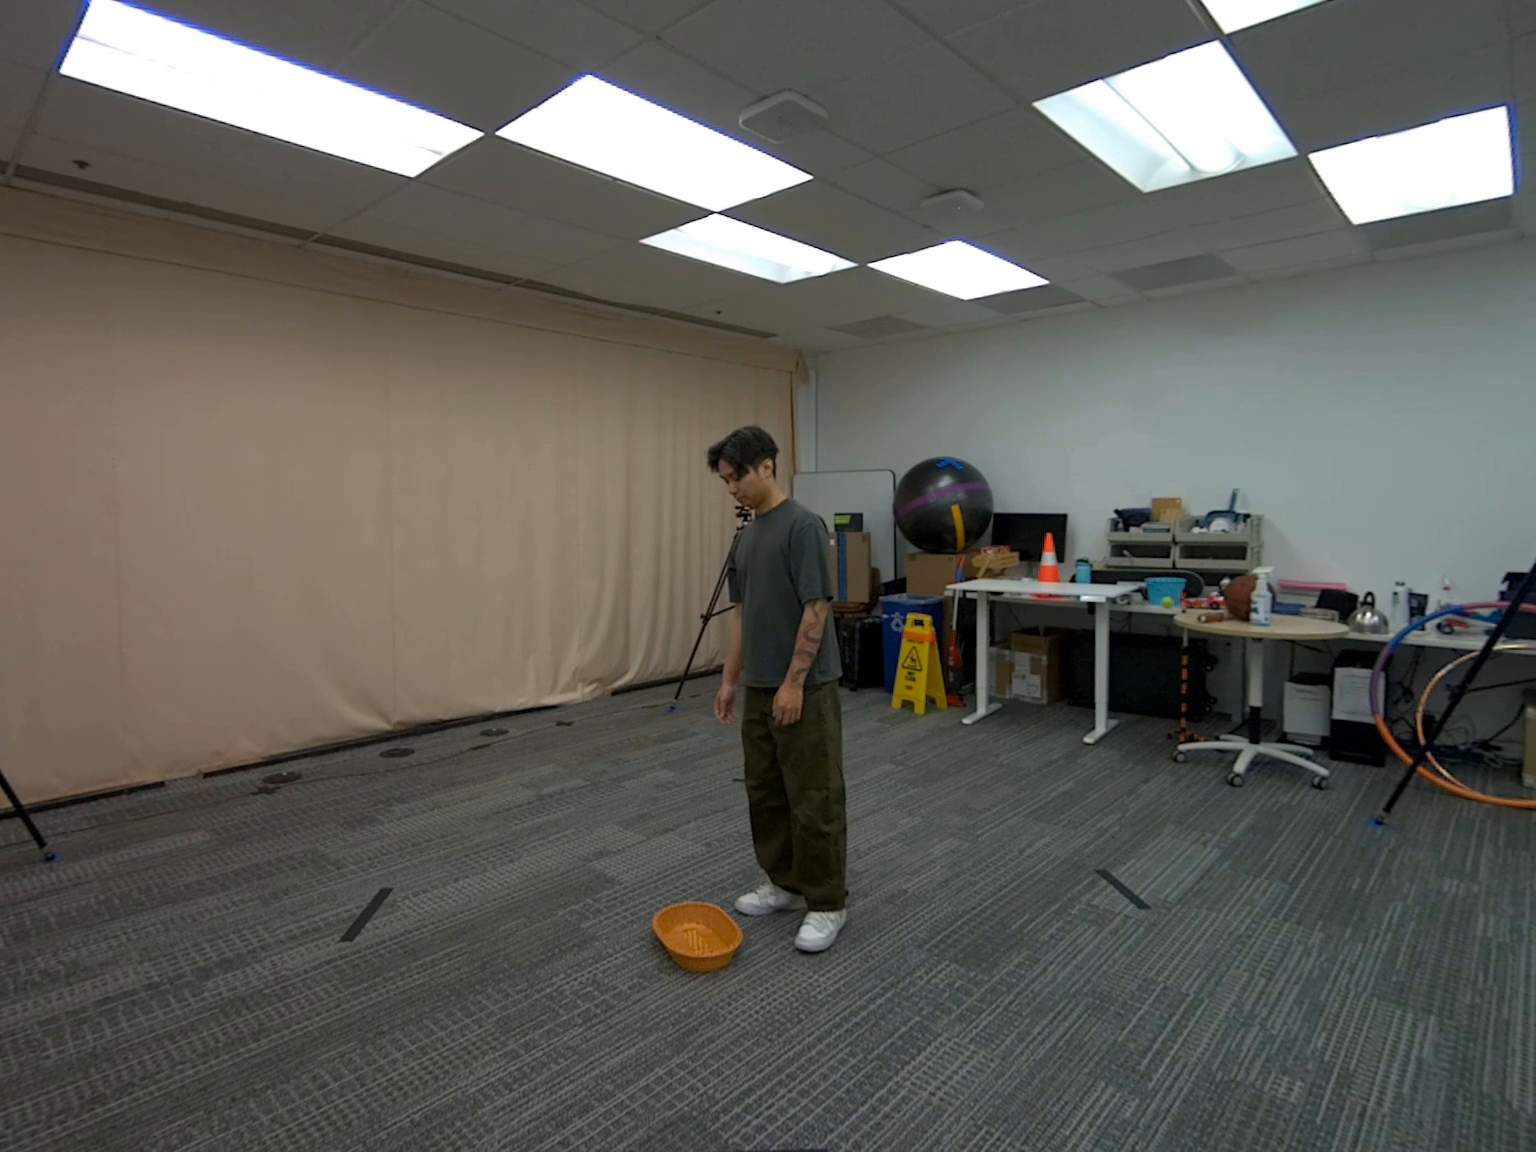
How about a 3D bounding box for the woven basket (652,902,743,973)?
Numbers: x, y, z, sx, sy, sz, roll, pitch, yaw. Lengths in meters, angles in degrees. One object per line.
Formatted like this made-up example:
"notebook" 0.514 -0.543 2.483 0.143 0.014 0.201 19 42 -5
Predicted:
"woven basket" -0.223 1.137 2.649 0.247 0.073 0.359 -3 5 -23
